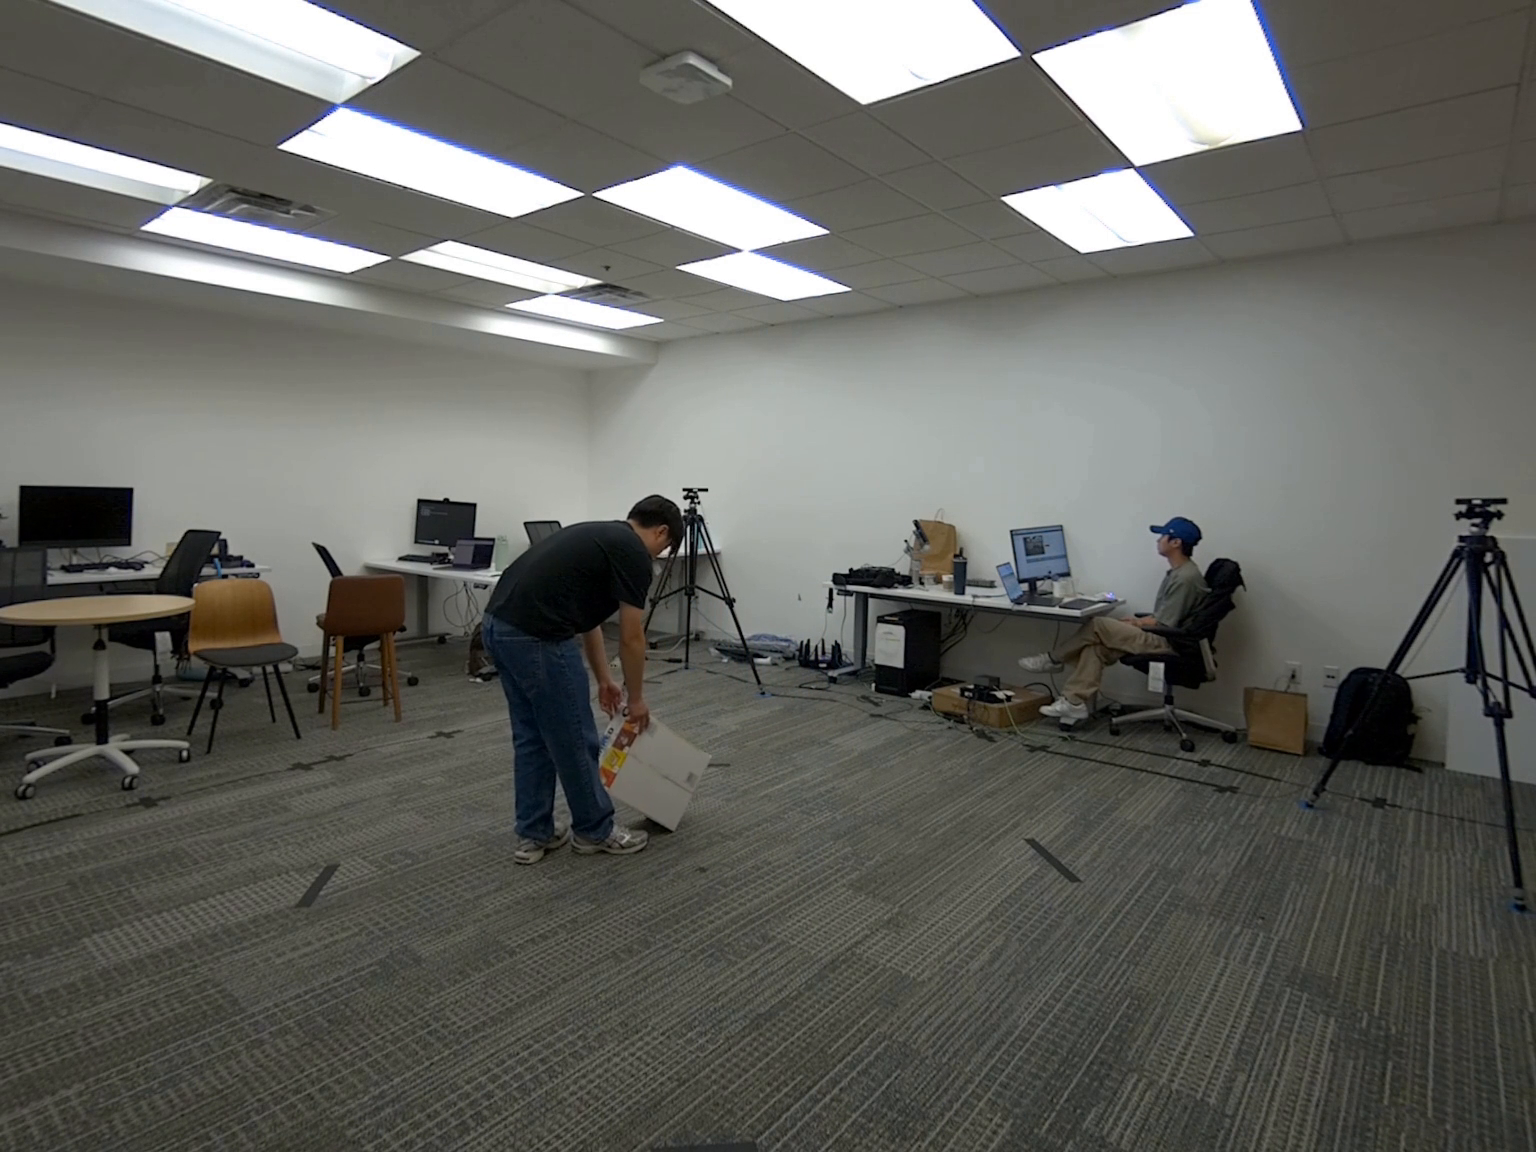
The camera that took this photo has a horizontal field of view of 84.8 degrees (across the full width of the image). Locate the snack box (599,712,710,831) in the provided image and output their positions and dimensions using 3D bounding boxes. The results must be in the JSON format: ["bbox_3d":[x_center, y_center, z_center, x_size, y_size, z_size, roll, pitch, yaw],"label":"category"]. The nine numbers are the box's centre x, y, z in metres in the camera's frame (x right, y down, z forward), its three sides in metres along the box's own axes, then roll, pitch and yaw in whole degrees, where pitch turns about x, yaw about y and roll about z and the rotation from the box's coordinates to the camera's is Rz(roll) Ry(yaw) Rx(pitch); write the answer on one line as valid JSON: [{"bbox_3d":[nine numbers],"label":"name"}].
[{"bbox_3d":[-0.501,0.776,3.465,0.213,0.342,0.389,7,-28,51],"label":"snack box"}]
